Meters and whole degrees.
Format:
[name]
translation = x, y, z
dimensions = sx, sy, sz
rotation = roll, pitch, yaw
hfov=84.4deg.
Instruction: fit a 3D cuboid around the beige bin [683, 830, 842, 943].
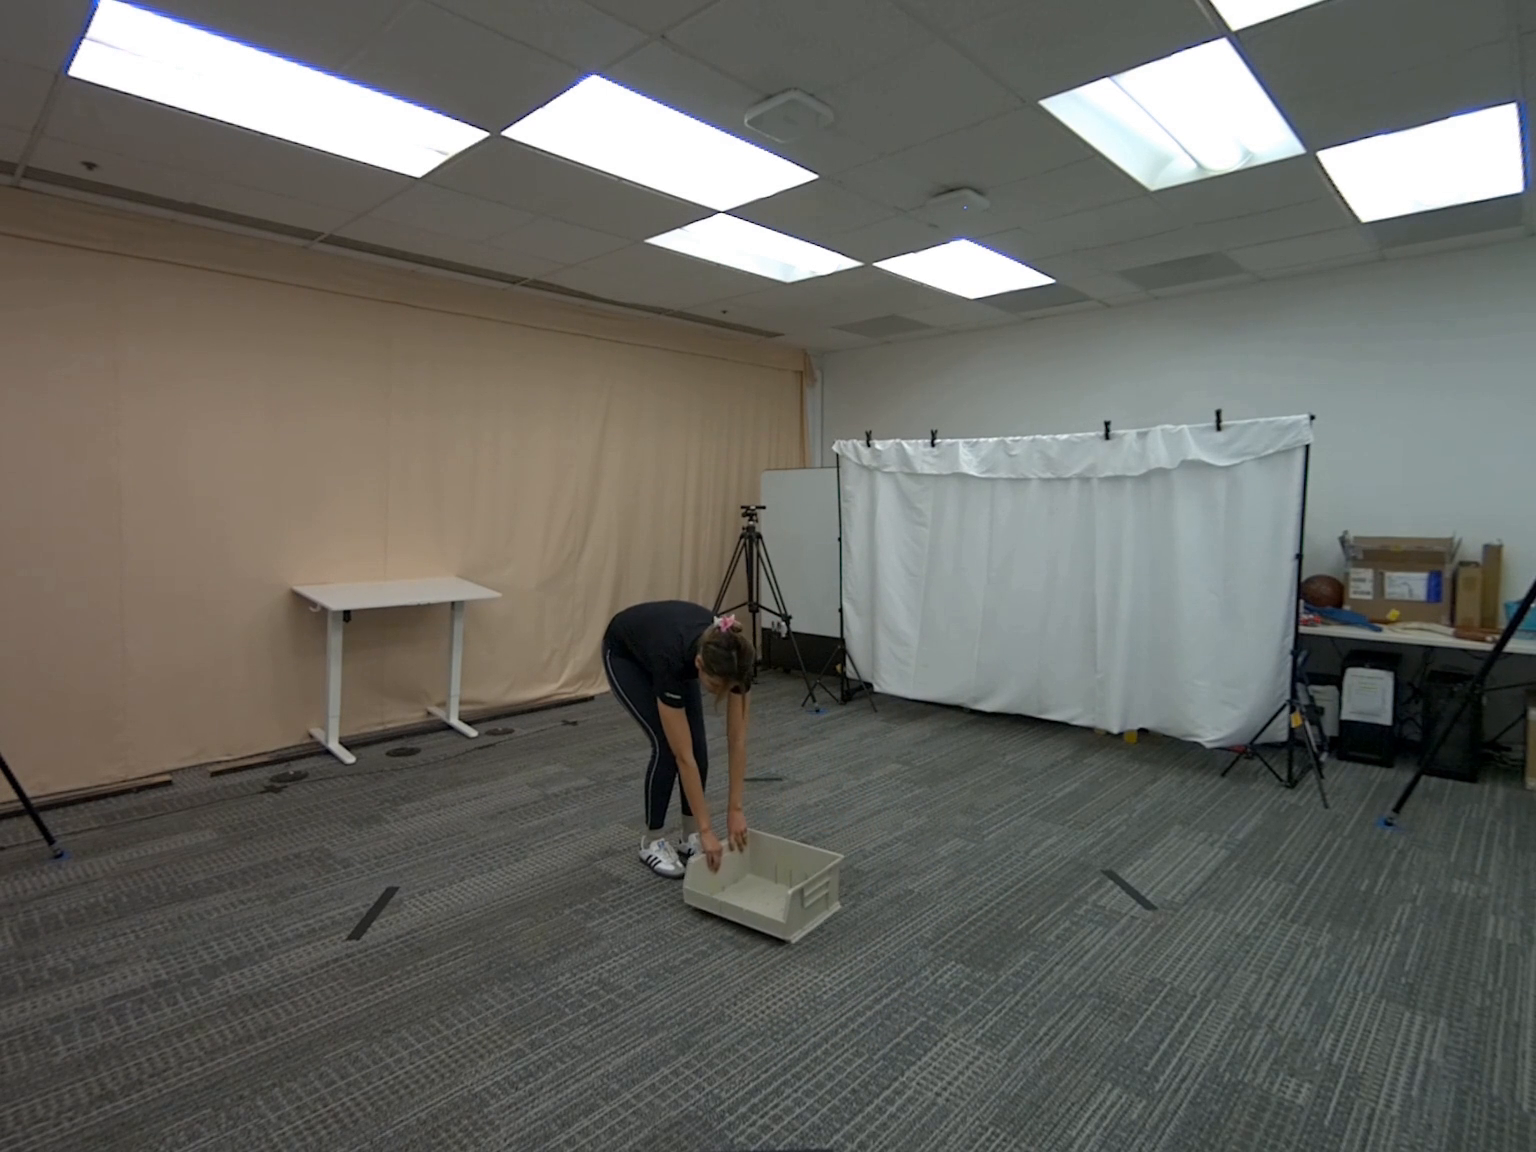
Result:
[beige bin]
translation = -0.008, 1.063, 2.898
dimensions = 0.436, 0.189, 0.366
rotation = 2, 4, 36
